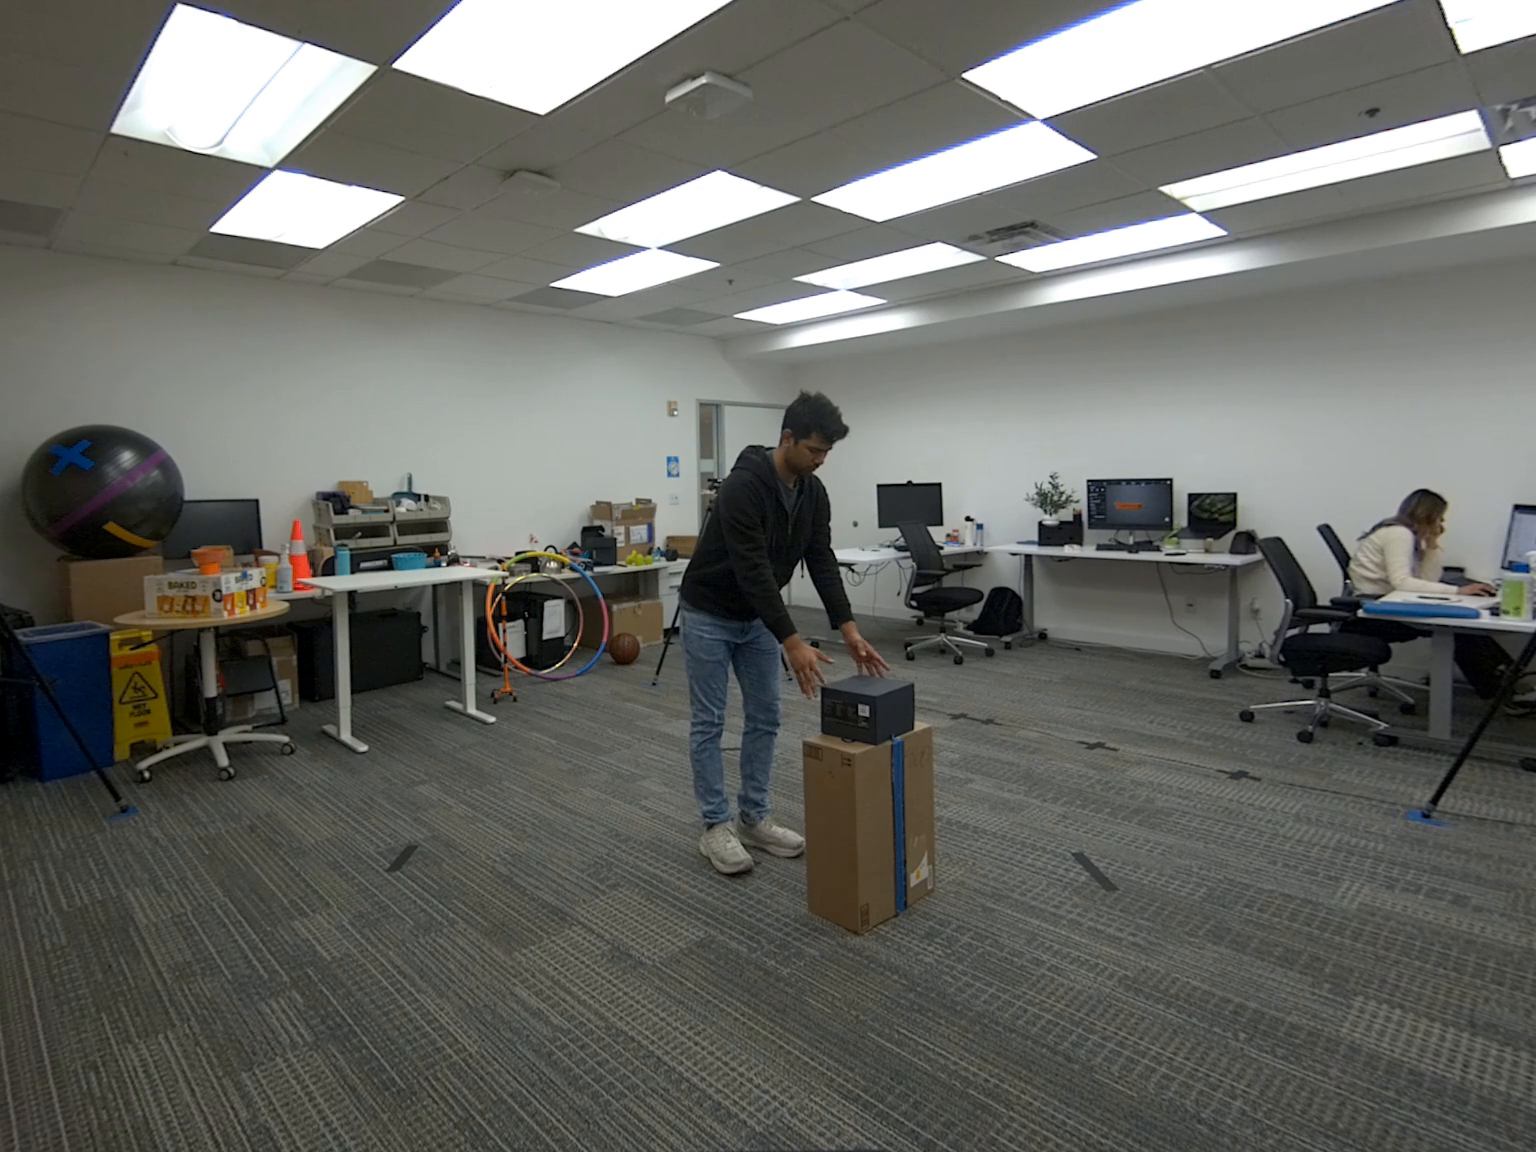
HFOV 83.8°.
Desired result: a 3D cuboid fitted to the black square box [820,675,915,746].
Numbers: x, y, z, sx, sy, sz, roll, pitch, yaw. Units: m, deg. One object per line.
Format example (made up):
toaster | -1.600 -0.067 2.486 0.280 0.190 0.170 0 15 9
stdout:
black square box | 0.328 0.429 2.785 0.223 0.155 0.222 3 7 41
